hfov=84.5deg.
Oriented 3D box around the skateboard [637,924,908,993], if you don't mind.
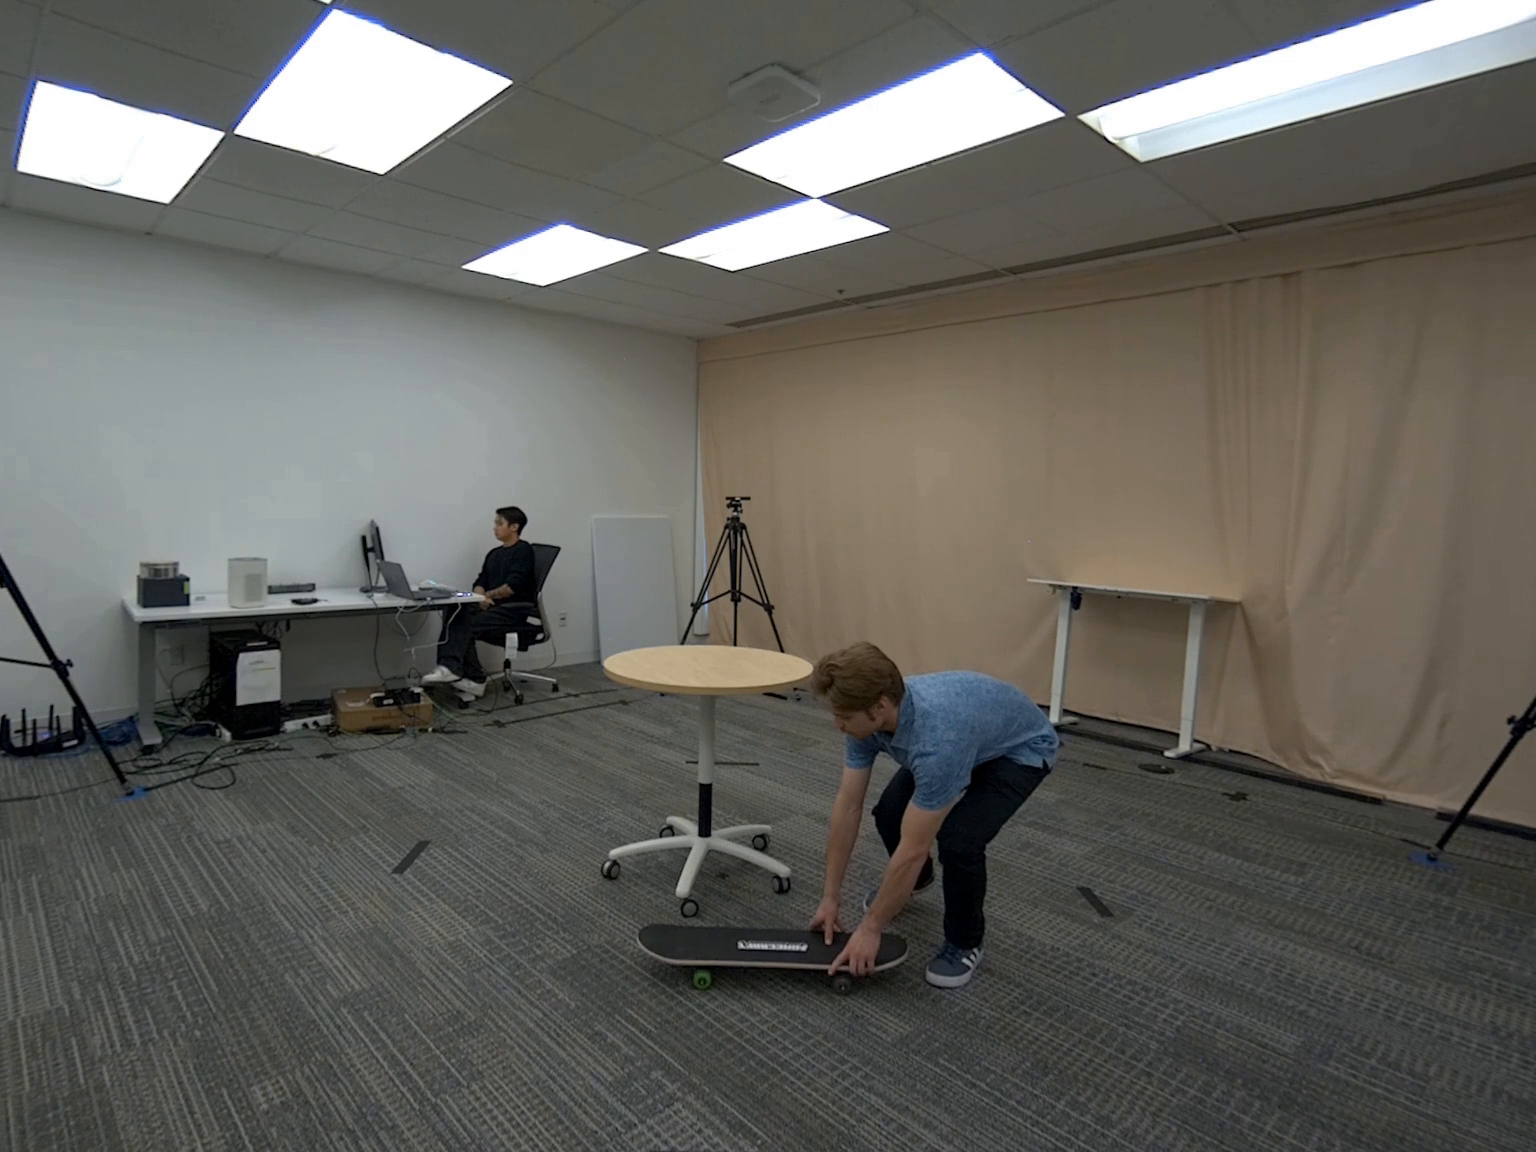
[{"bbox_3d":[0.007,1.115,2.455,0.787,0.110,0.193,0,4,2],"label":"skateboard"}]
